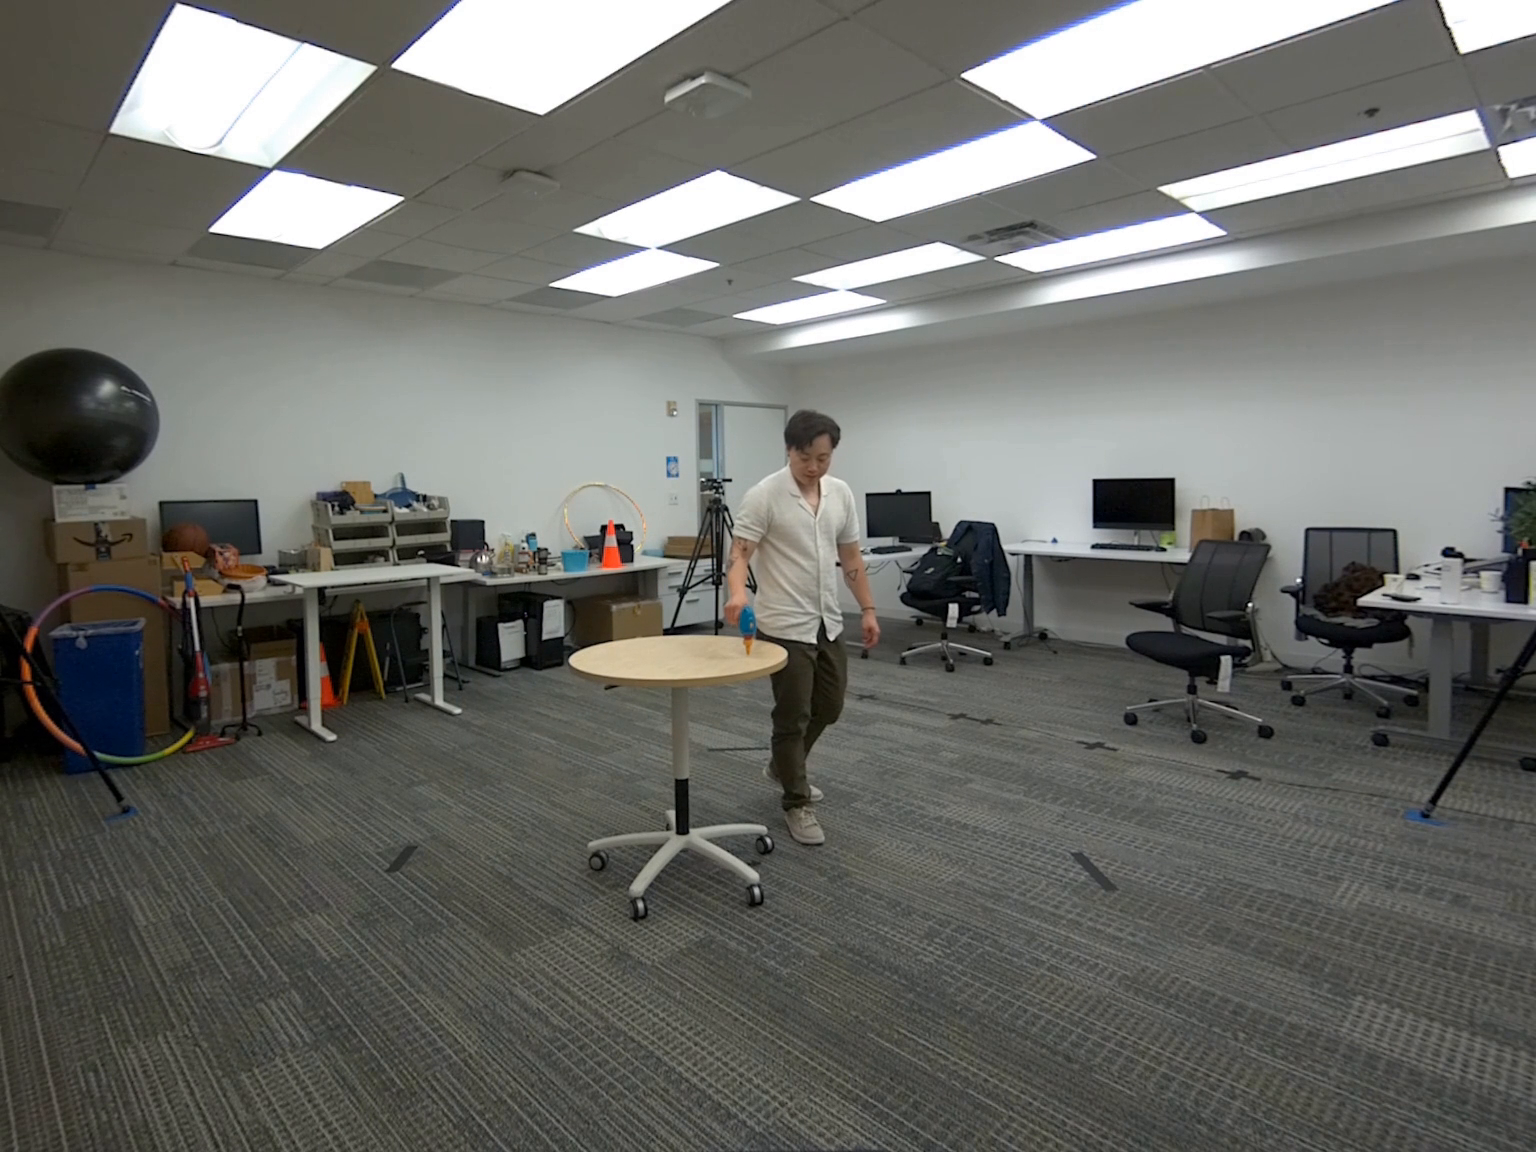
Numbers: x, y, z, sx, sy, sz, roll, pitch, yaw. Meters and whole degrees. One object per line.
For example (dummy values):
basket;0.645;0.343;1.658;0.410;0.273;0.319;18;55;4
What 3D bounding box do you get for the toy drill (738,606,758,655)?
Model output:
toy drill;-0.084;0.183;2.965;0.060;0.170;0.148;-5;1;-14
